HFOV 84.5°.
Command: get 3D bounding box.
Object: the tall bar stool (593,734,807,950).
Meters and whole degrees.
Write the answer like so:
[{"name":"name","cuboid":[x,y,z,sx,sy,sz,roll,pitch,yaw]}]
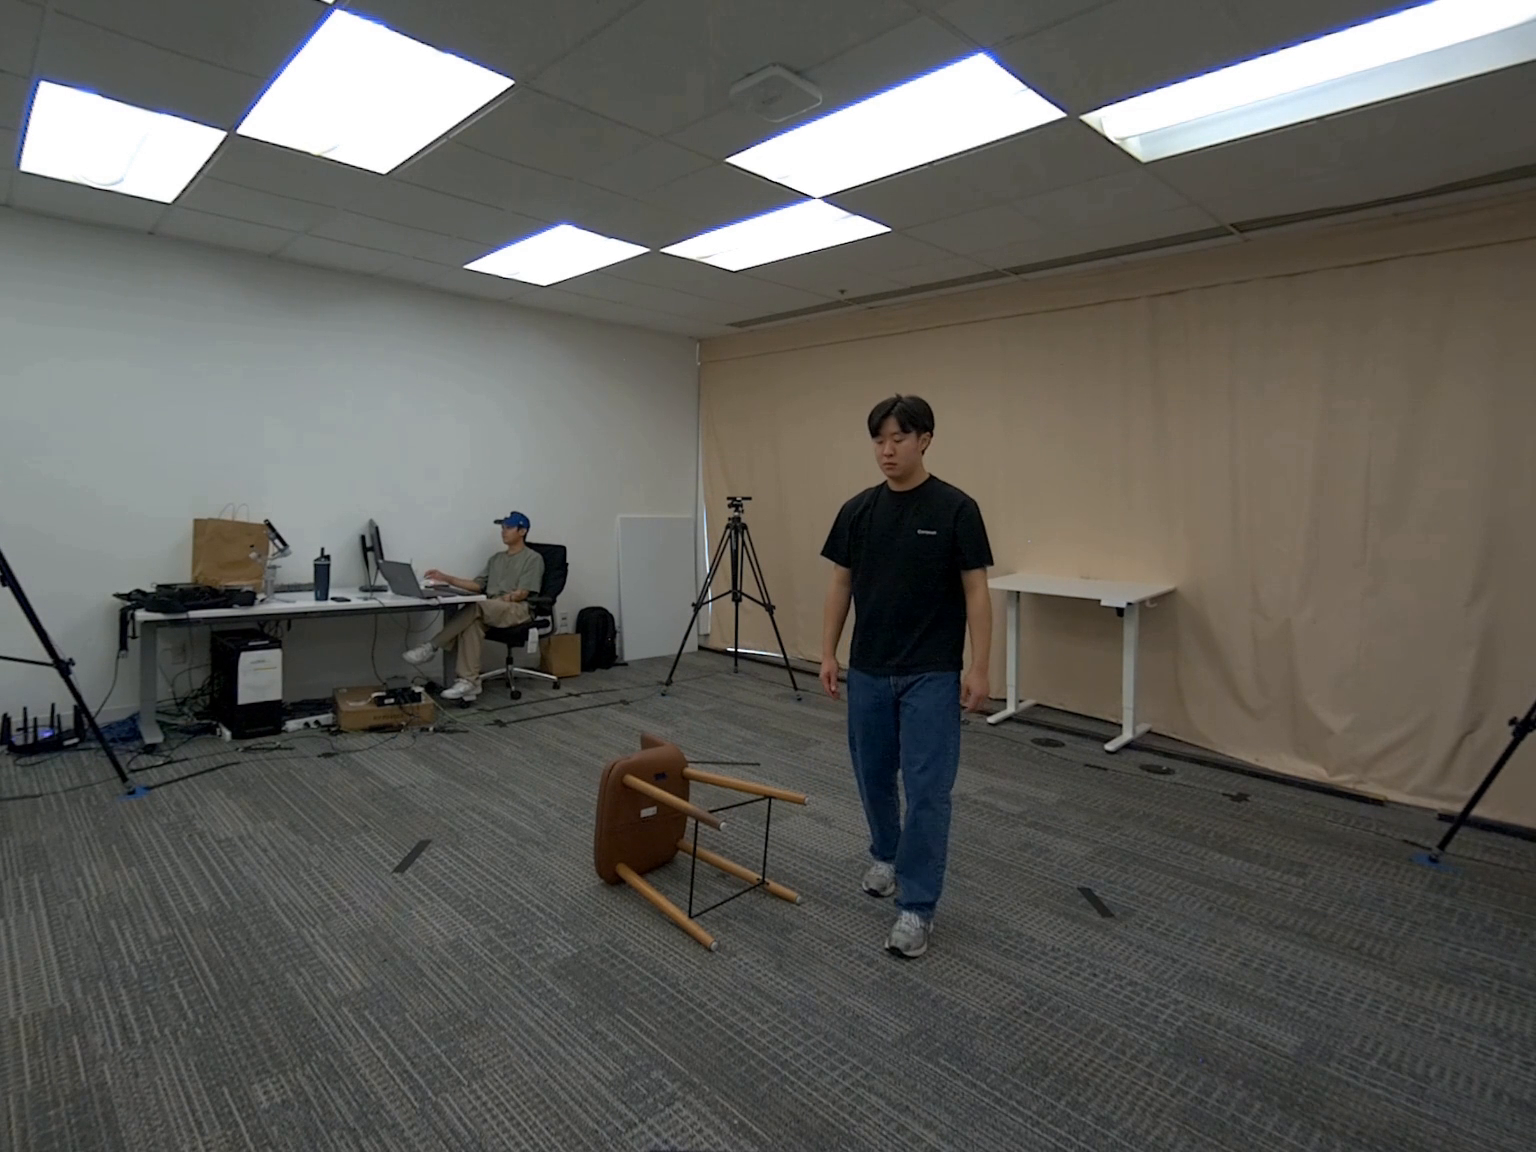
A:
[{"name":"tall bar stool","cuboid":[-0.345,0.896,3.024,0.914,0.455,0.456,9,7,43]}]
